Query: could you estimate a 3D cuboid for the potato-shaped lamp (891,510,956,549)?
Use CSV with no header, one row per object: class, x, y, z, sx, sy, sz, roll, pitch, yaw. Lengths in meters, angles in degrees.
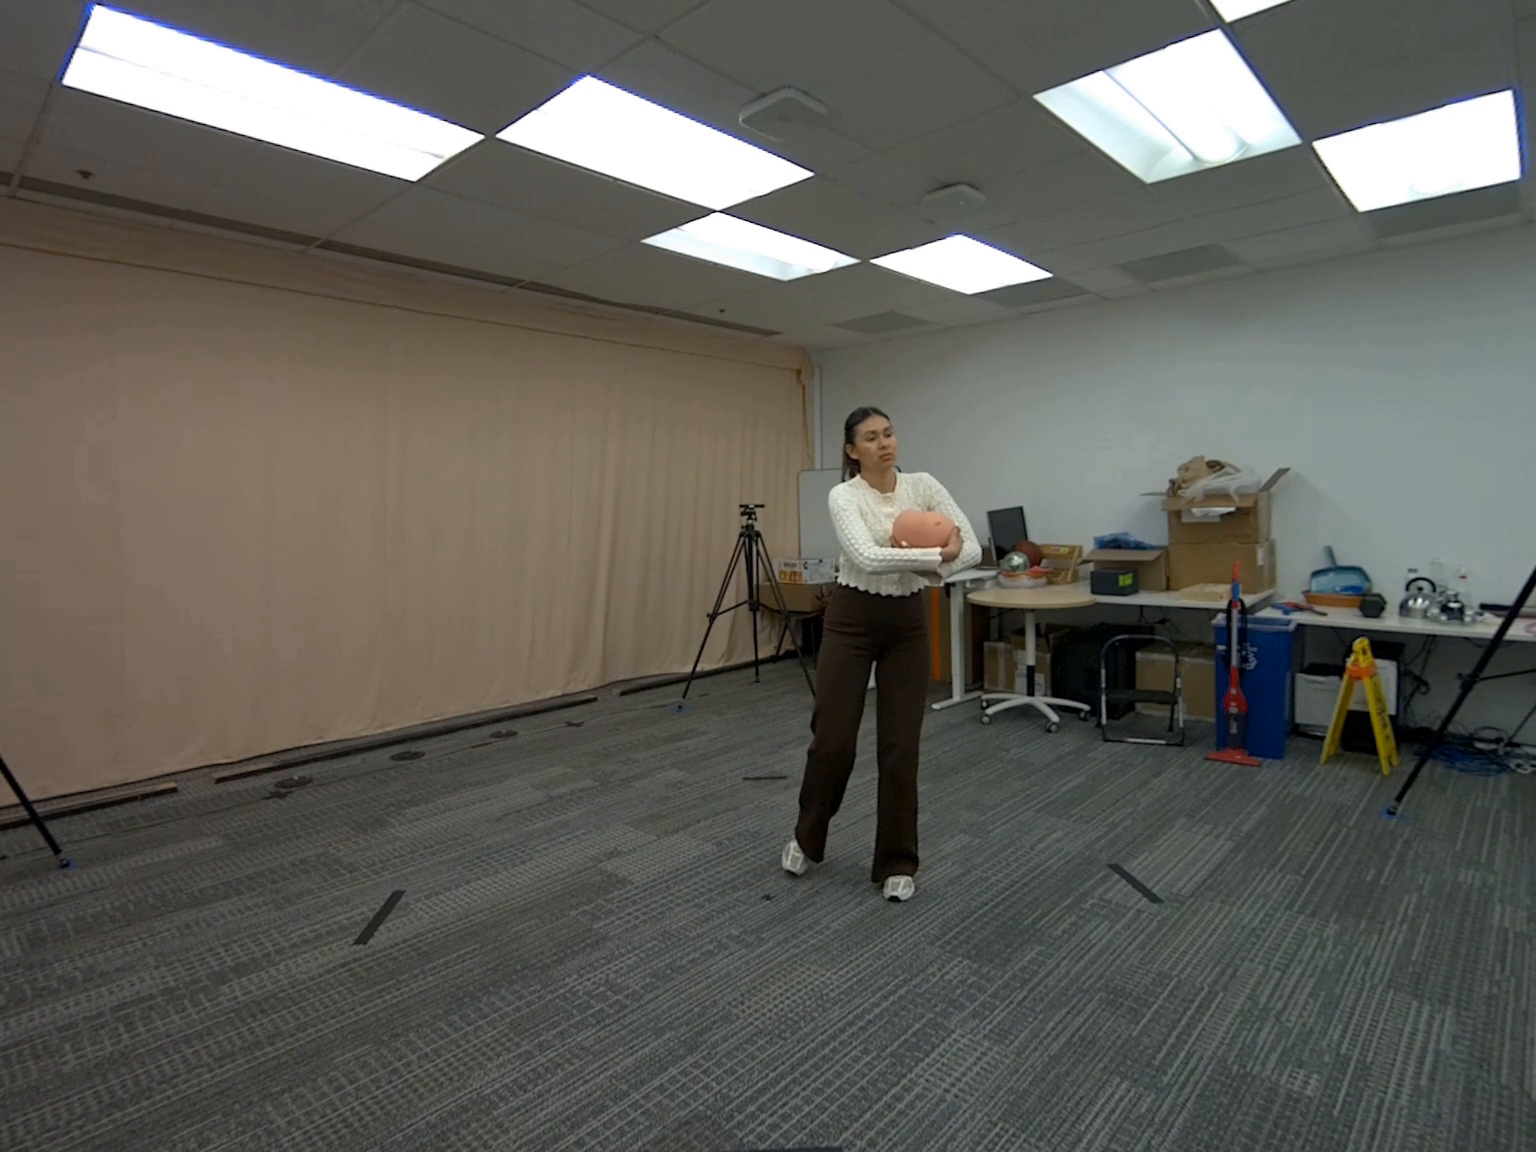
potato-shaped lamp,0.498,-0.134,2.756,0.193,0.171,0.168,28,7,-20
